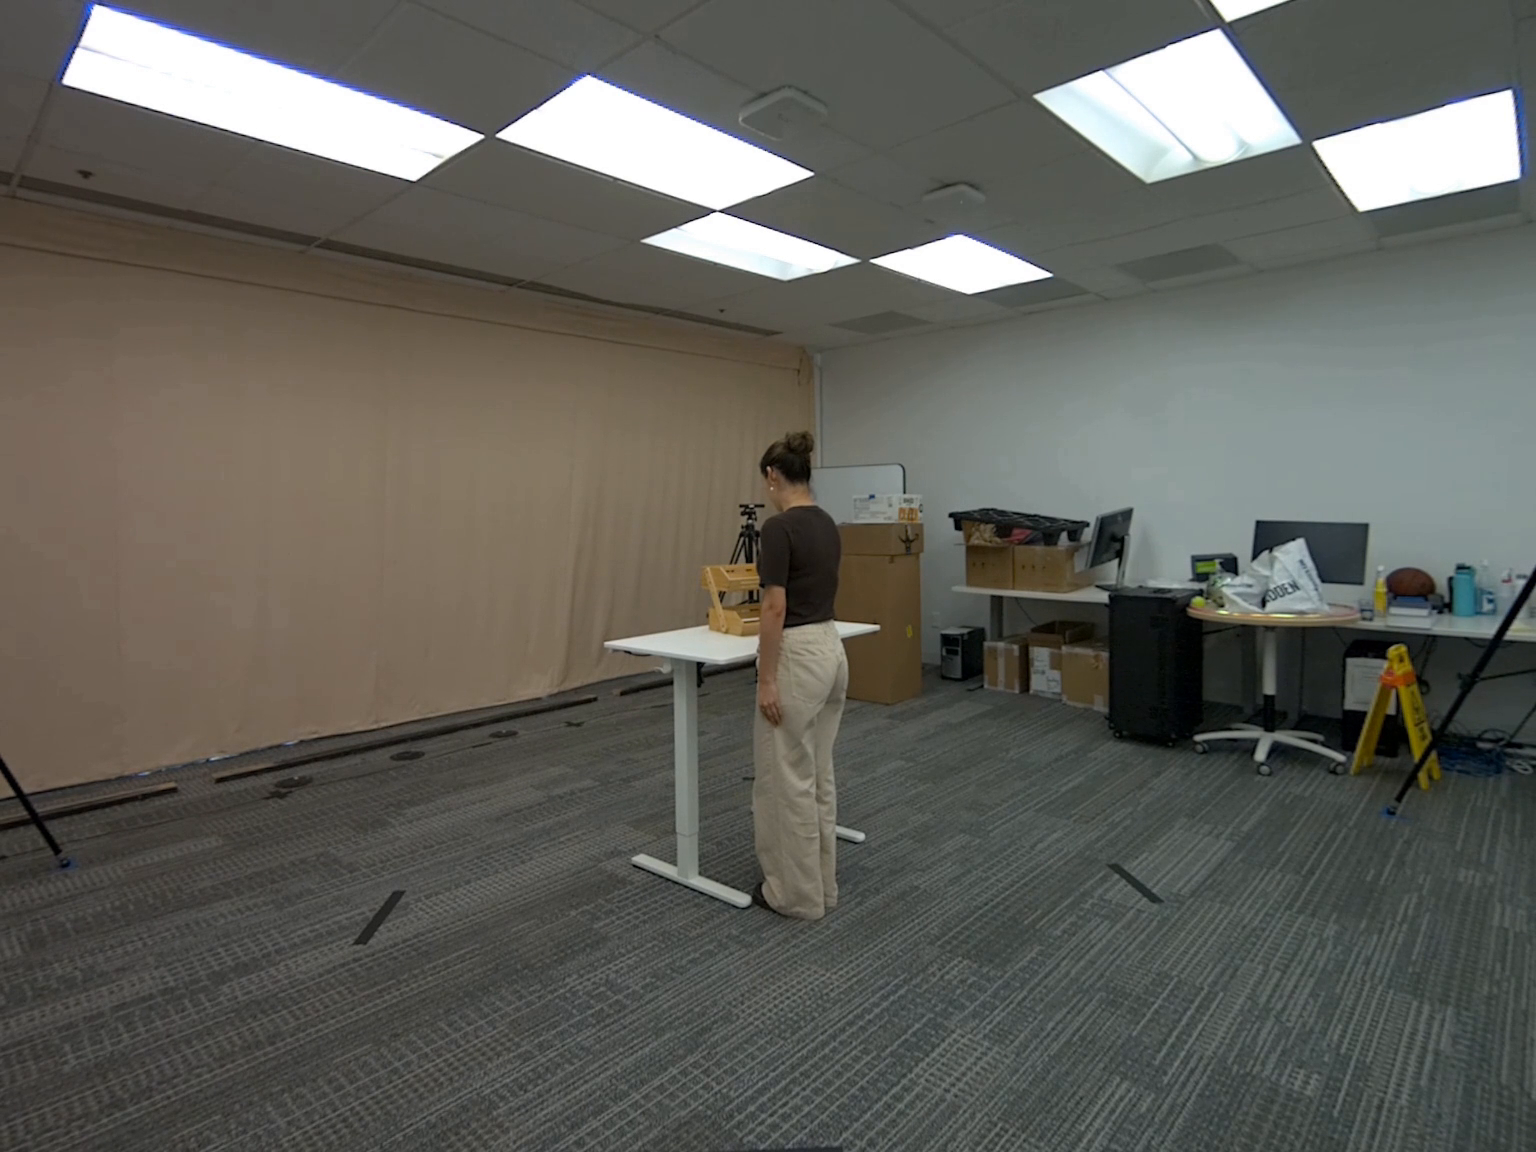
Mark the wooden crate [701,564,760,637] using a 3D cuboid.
[{"bbox_3d":[-0.063,0.087,3.450,0.315,0.273,0.311,-3,3,-34],"label":"wooden crate"}]
